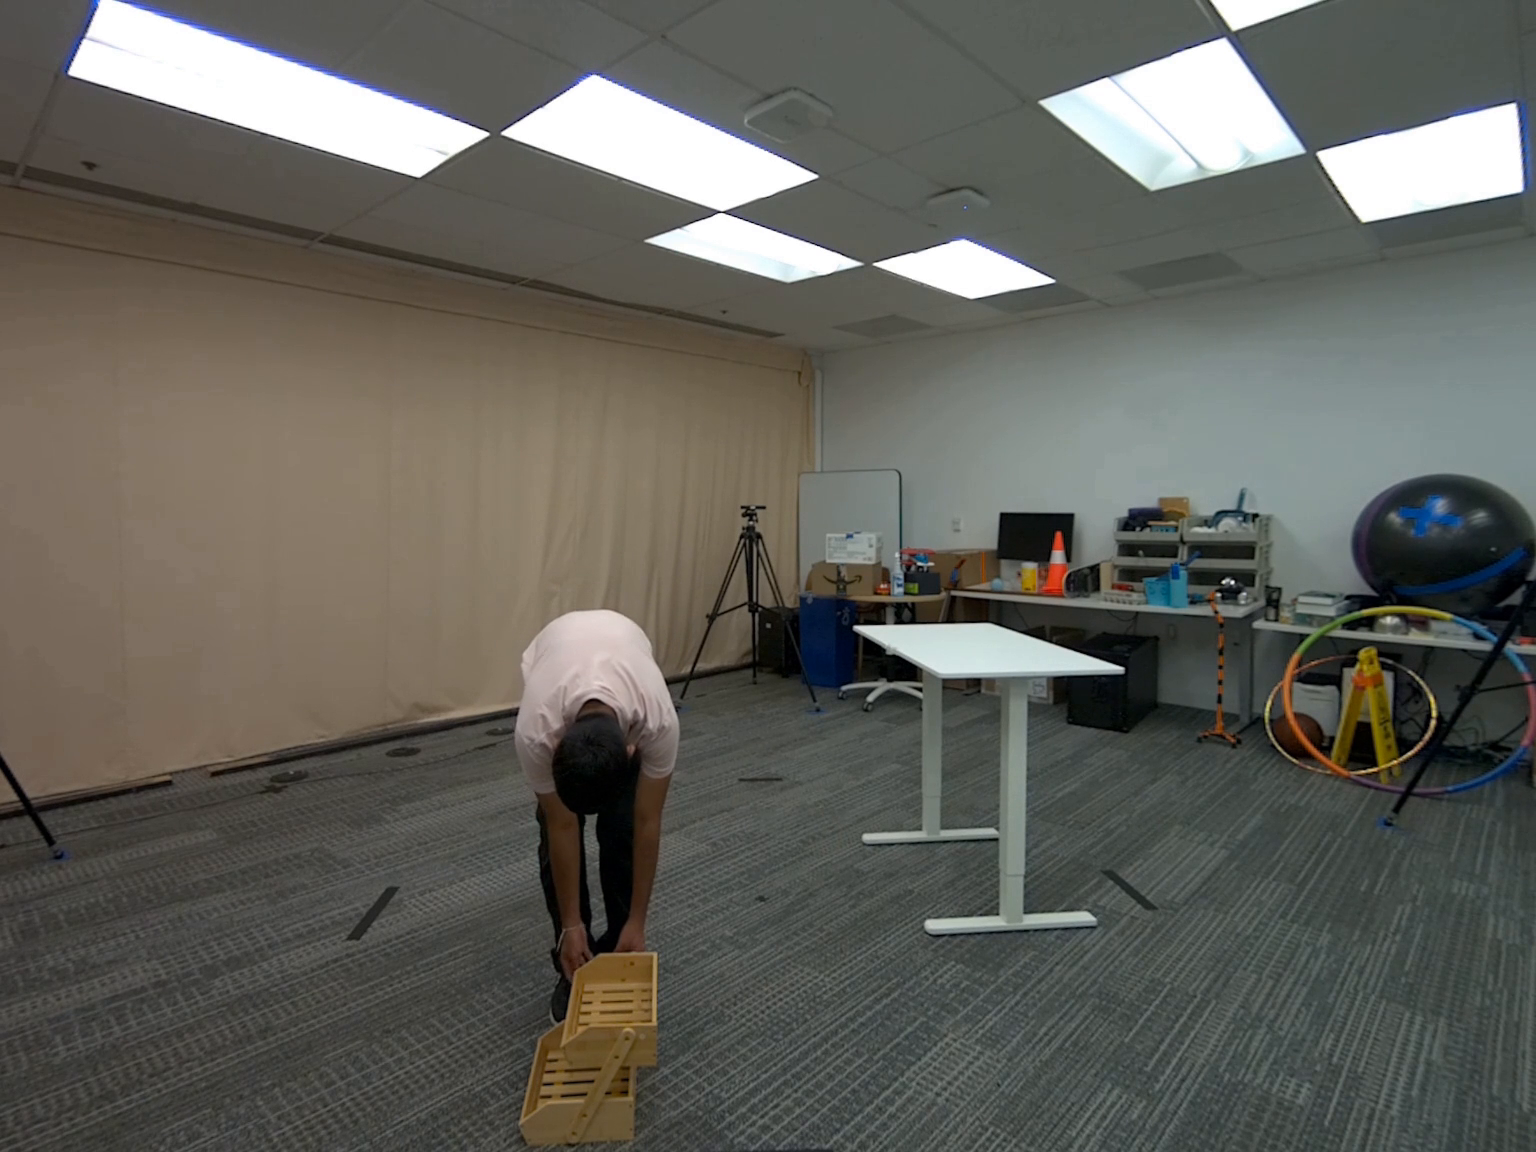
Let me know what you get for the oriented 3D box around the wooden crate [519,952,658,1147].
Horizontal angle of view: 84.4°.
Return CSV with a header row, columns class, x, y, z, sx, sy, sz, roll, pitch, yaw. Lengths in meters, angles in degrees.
class,x,y,z,sx,sy,sz,roll,pitch,yaw
wooden crate,-0.413,1.098,1.980,0.300,0.273,0.327,0,3,-6
